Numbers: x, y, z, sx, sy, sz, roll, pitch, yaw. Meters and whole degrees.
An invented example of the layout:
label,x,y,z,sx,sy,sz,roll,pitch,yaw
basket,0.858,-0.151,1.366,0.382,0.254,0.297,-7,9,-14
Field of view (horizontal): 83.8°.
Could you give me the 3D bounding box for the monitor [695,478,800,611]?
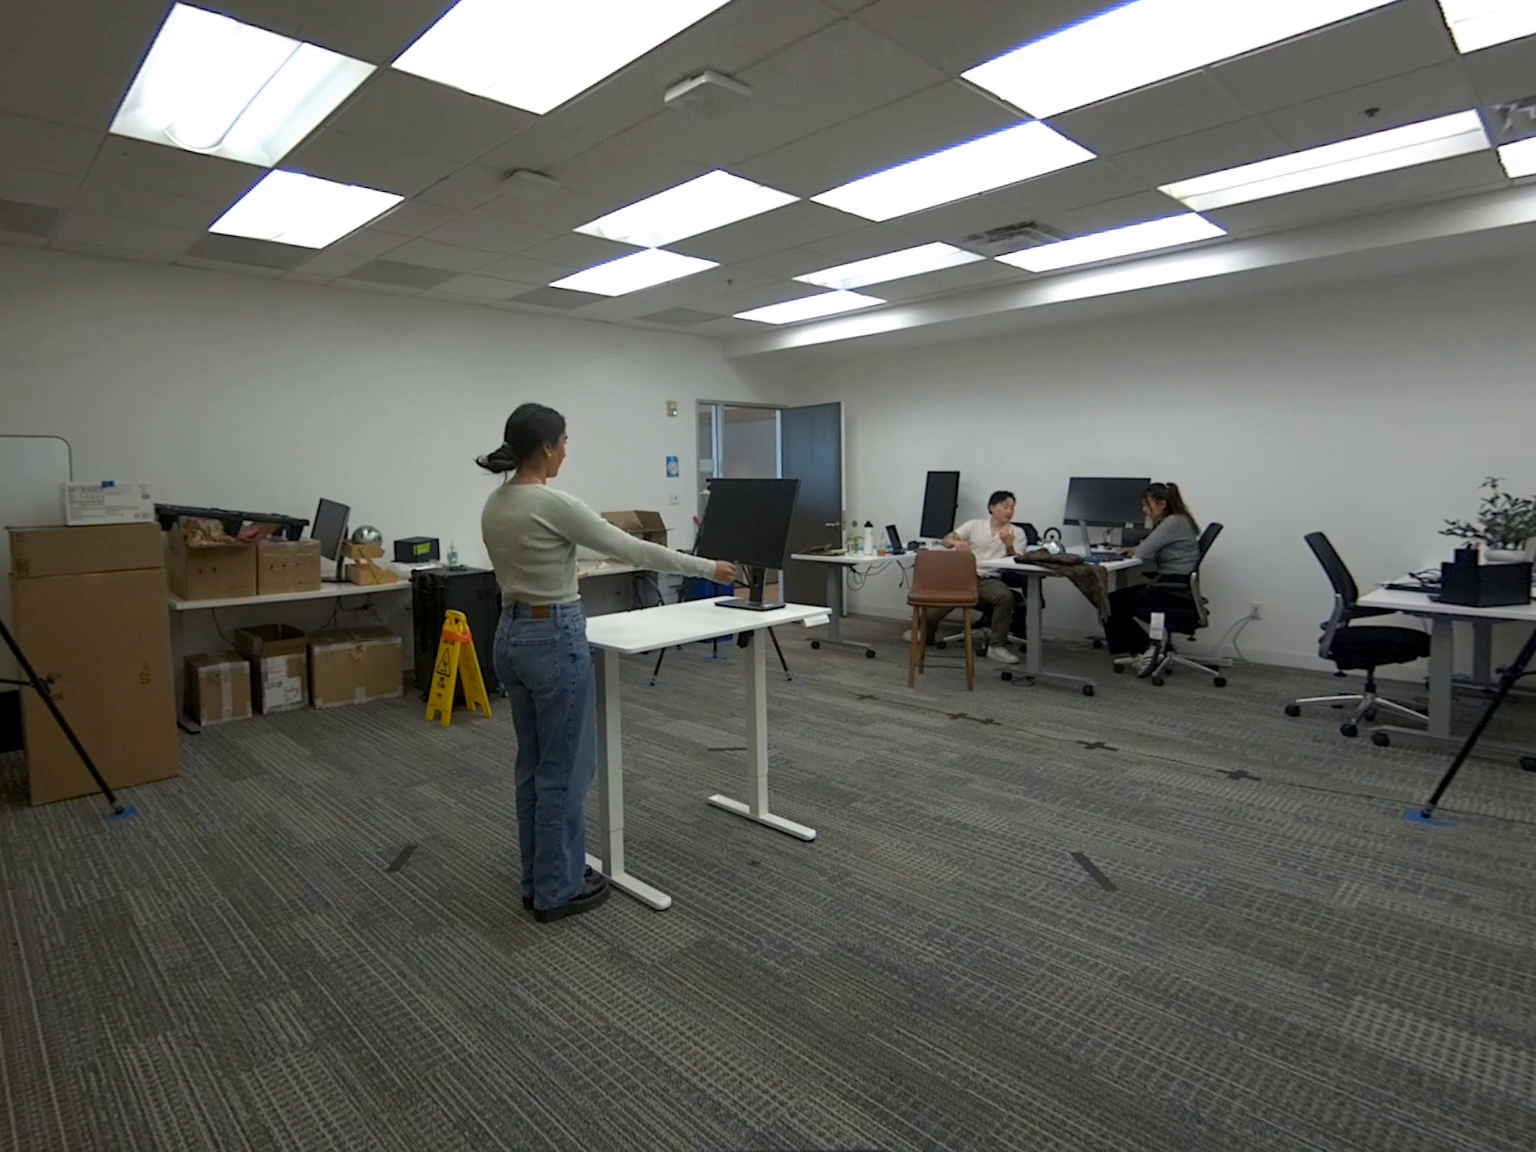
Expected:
label,x,y,z,sx,sy,sz,roll,pitch,yaw
monitor,-0.068,-0.130,3.447,0.182,0.521,0.556,-2,5,-42
